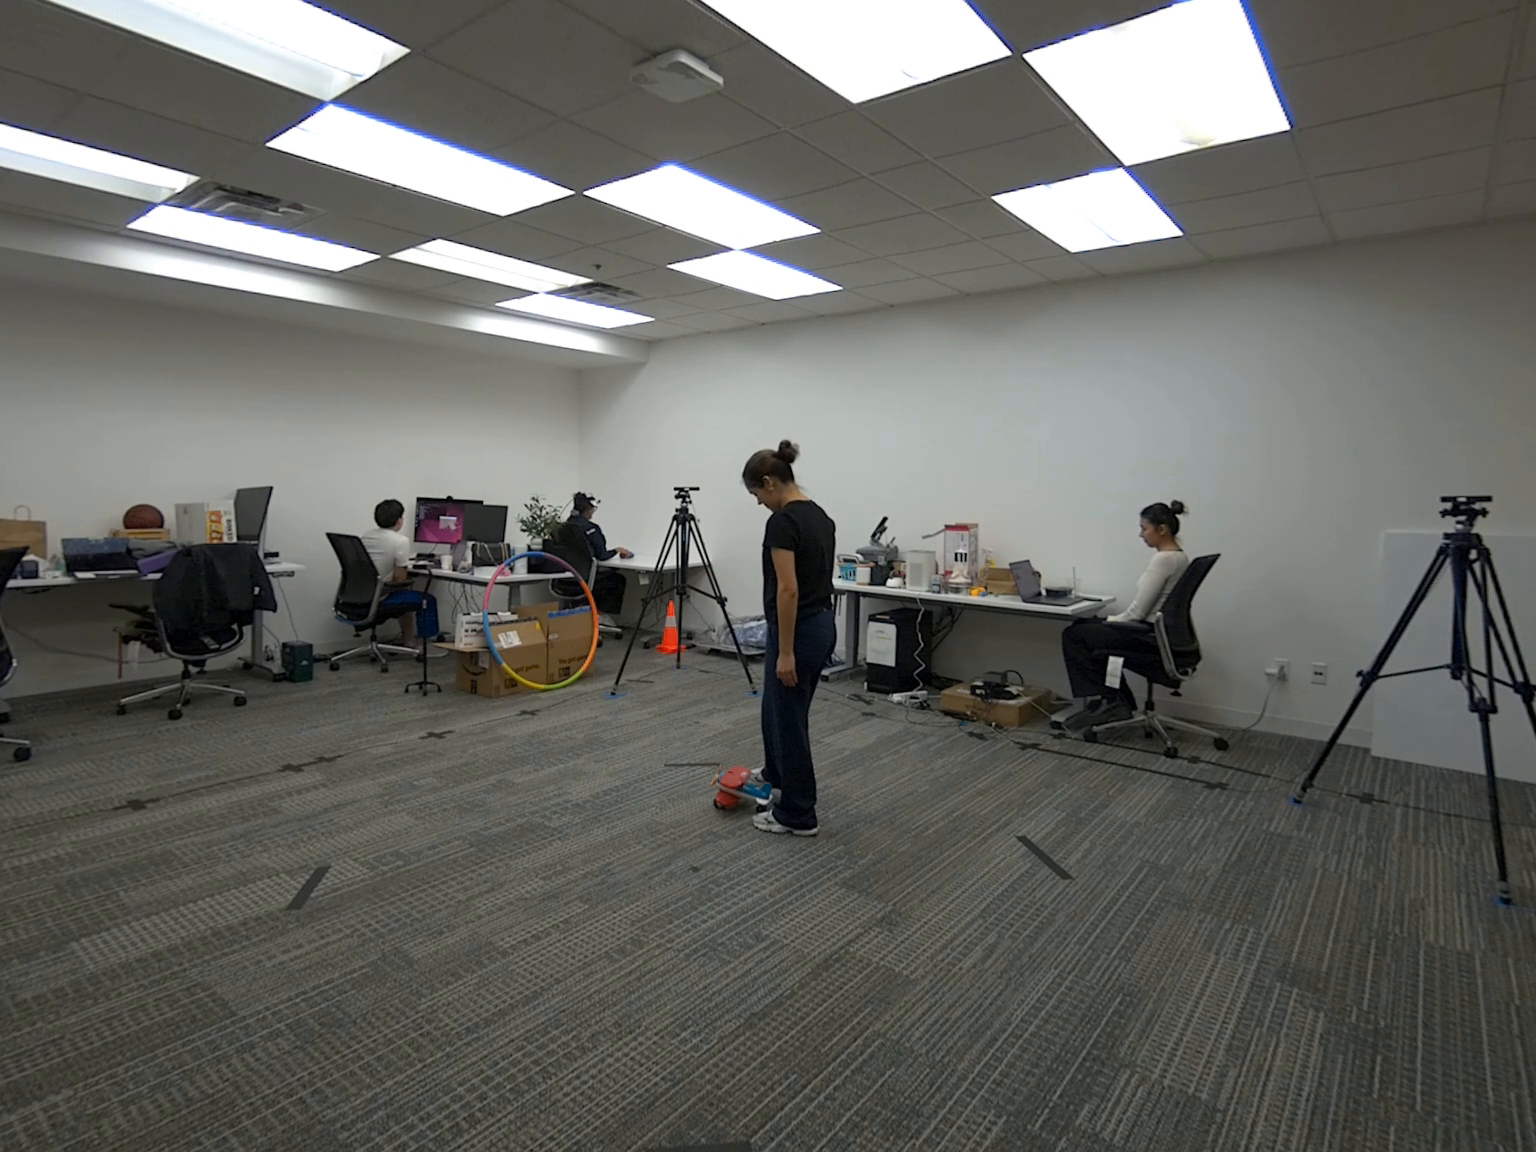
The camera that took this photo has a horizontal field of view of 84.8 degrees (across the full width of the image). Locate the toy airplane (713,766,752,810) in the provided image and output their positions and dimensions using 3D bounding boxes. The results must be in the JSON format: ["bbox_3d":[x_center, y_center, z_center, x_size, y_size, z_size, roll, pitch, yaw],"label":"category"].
[{"bbox_3d":[-0.093,0.931,3.732,0.257,0.156,0.254,-1,4,-9],"label":"toy airplane"}]
